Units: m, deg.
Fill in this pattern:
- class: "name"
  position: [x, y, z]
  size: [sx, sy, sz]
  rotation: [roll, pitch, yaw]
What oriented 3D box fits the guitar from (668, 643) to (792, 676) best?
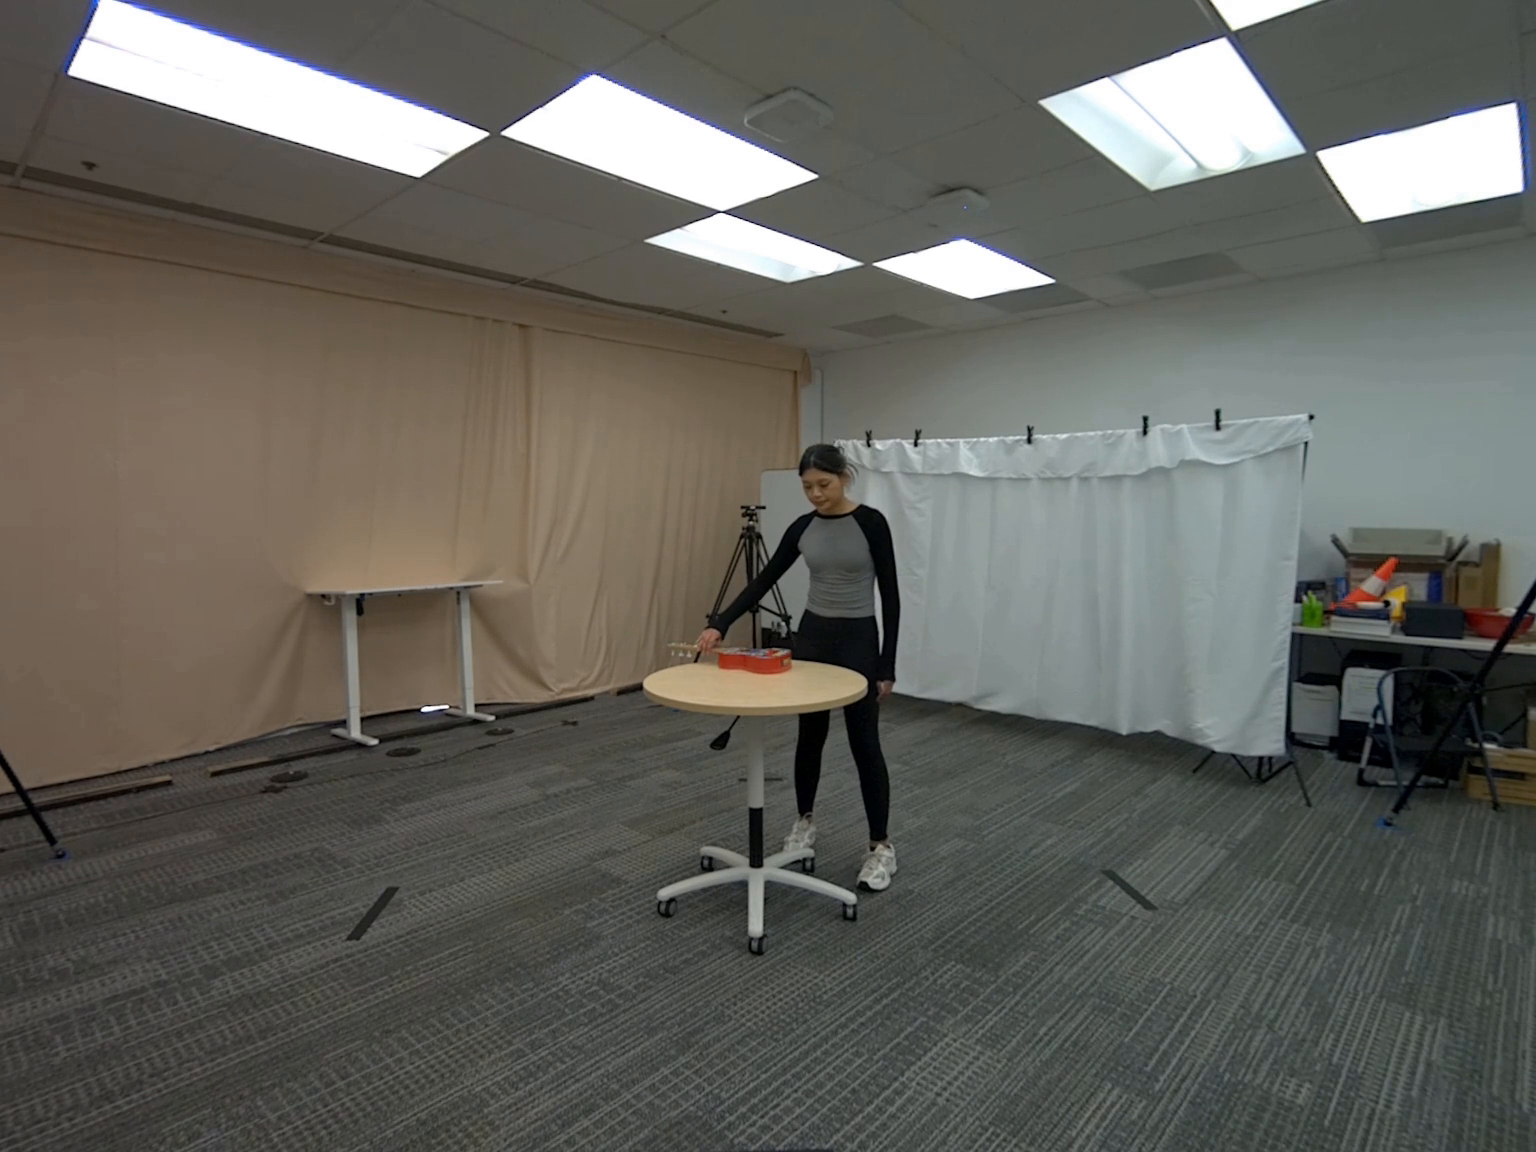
- class: "guitar"
  position: [-0.145, 0.301, 3.178]
  size: [0.513, 0.070, 0.187]
  rotation: [2, 5, 33]
